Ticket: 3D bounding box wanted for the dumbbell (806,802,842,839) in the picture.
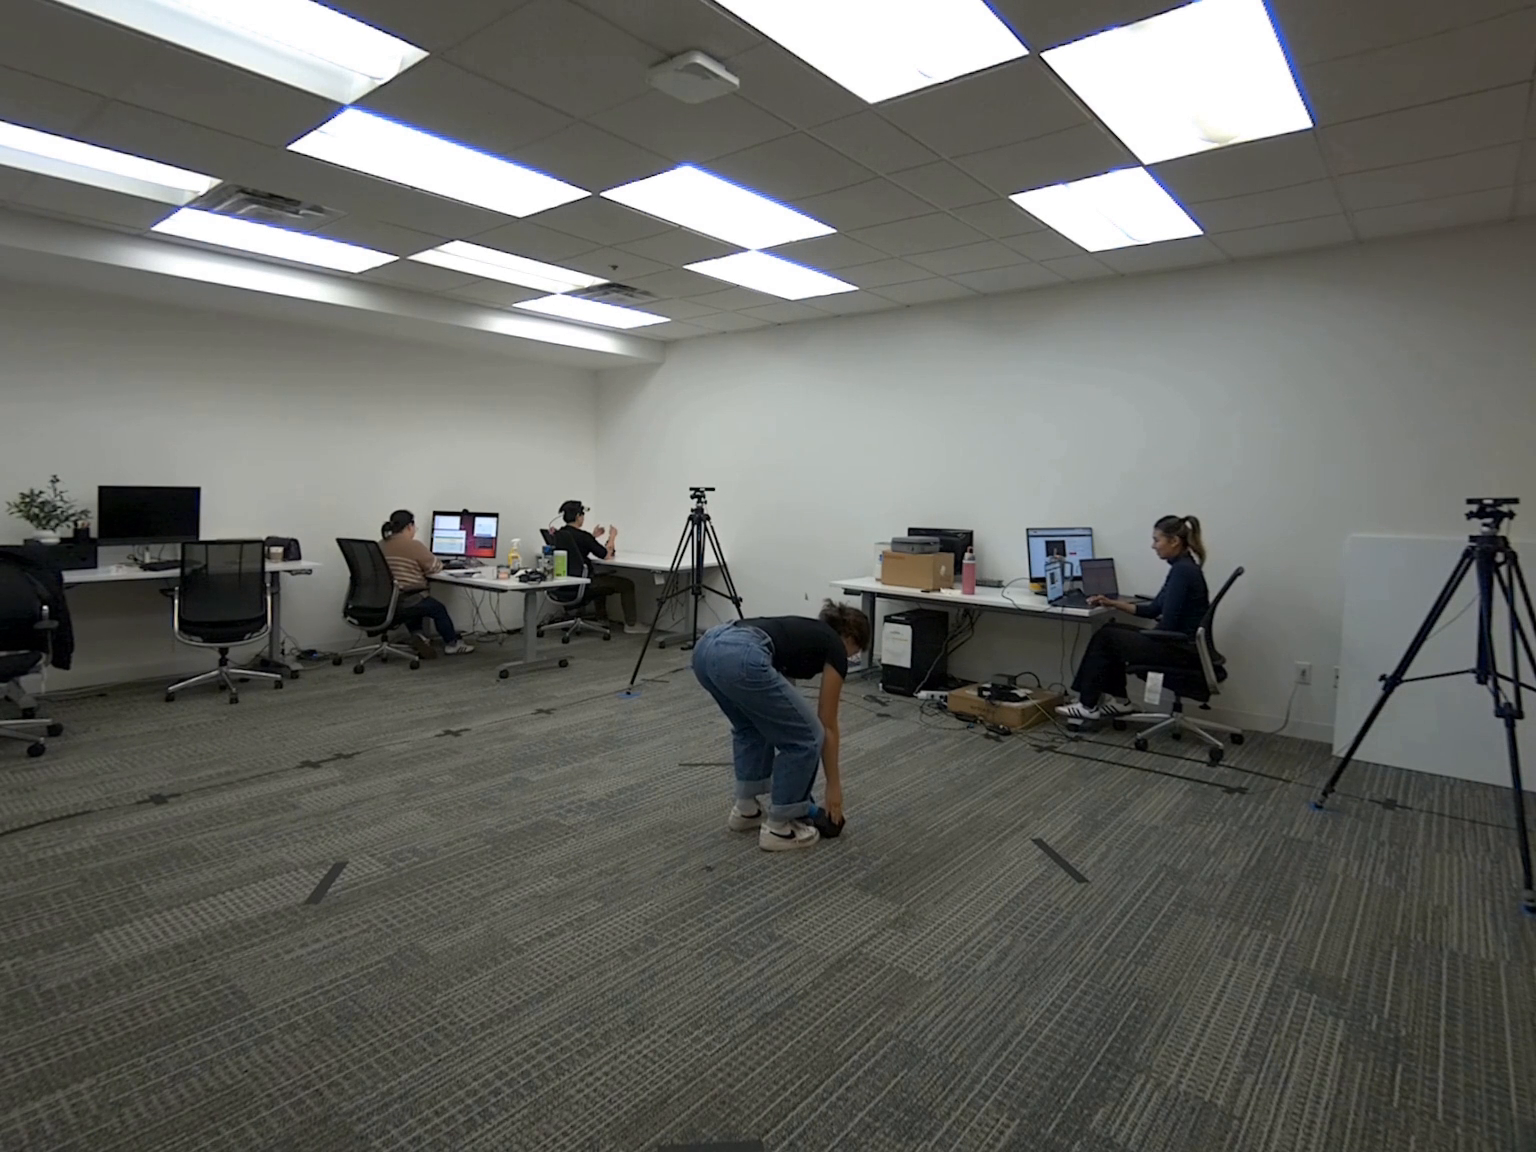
[{"bbox_3d":[0.189,0.983,3.535,0.105,0.123,0.302,33,-12,-29],"label":"dumbbell"}]
